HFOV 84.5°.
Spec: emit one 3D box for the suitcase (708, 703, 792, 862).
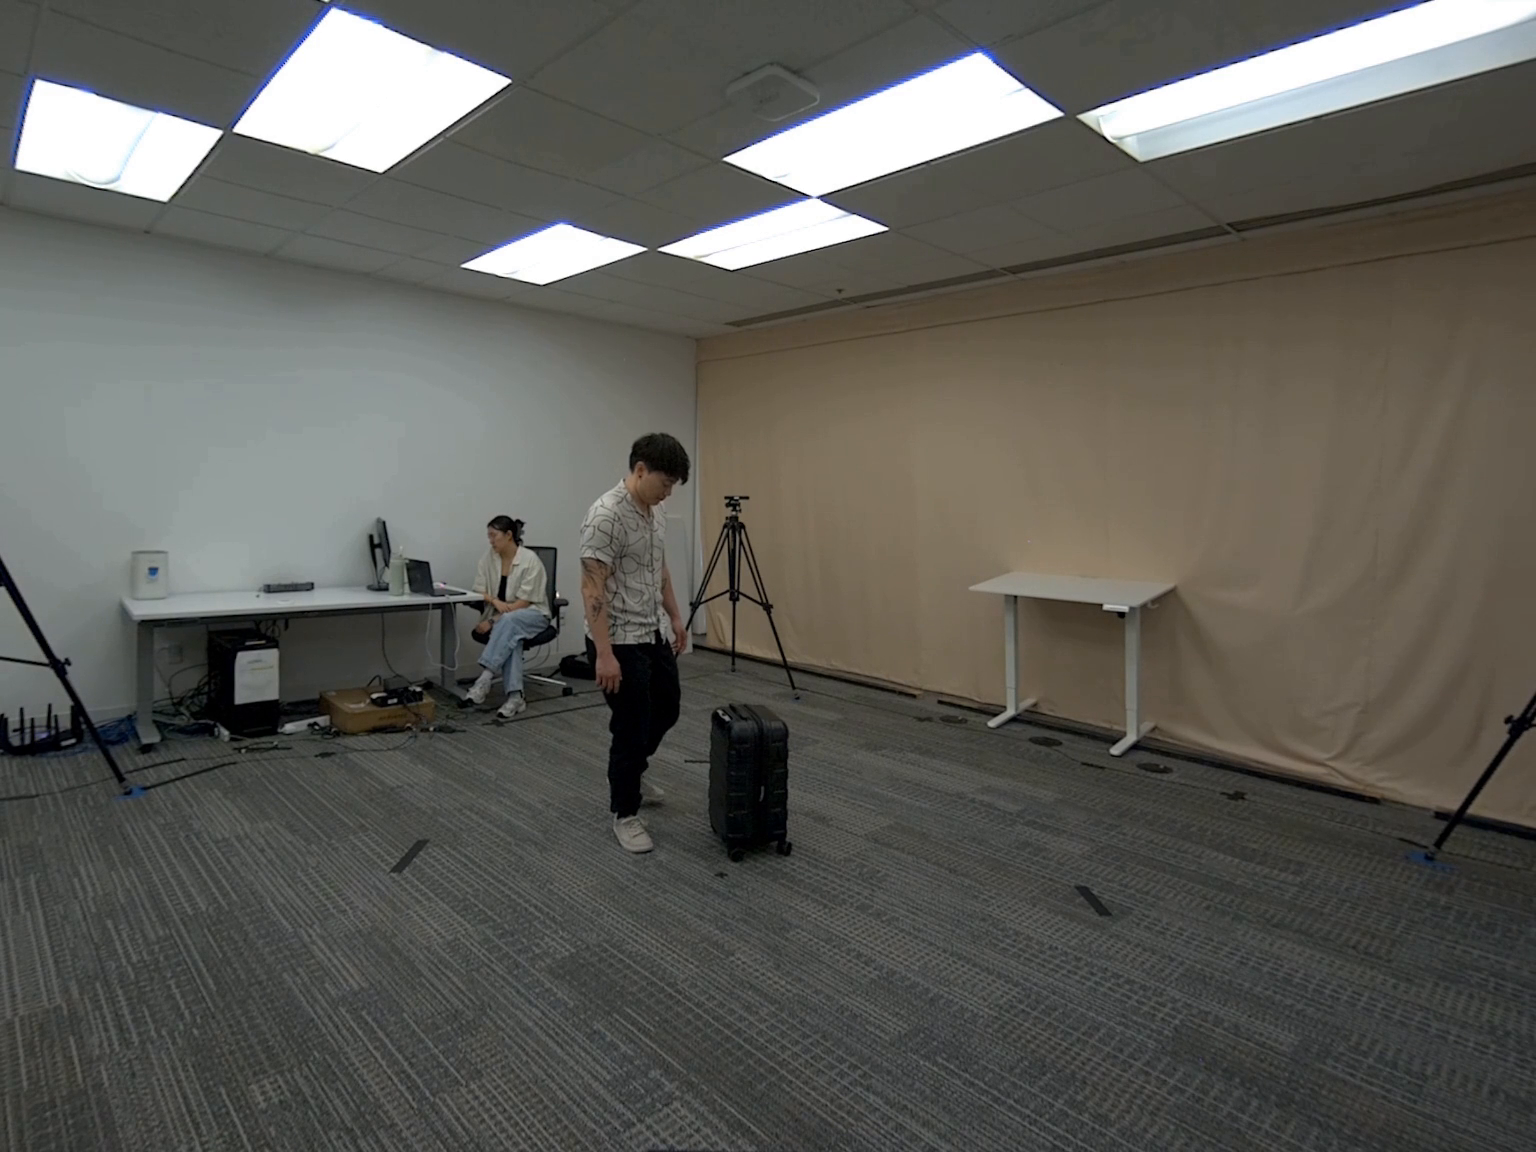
[{"bbox_3d":[-0.093,0.801,3.383,0.245,0.548,0.382,1,4,-20],"label":"suitcase"}]
